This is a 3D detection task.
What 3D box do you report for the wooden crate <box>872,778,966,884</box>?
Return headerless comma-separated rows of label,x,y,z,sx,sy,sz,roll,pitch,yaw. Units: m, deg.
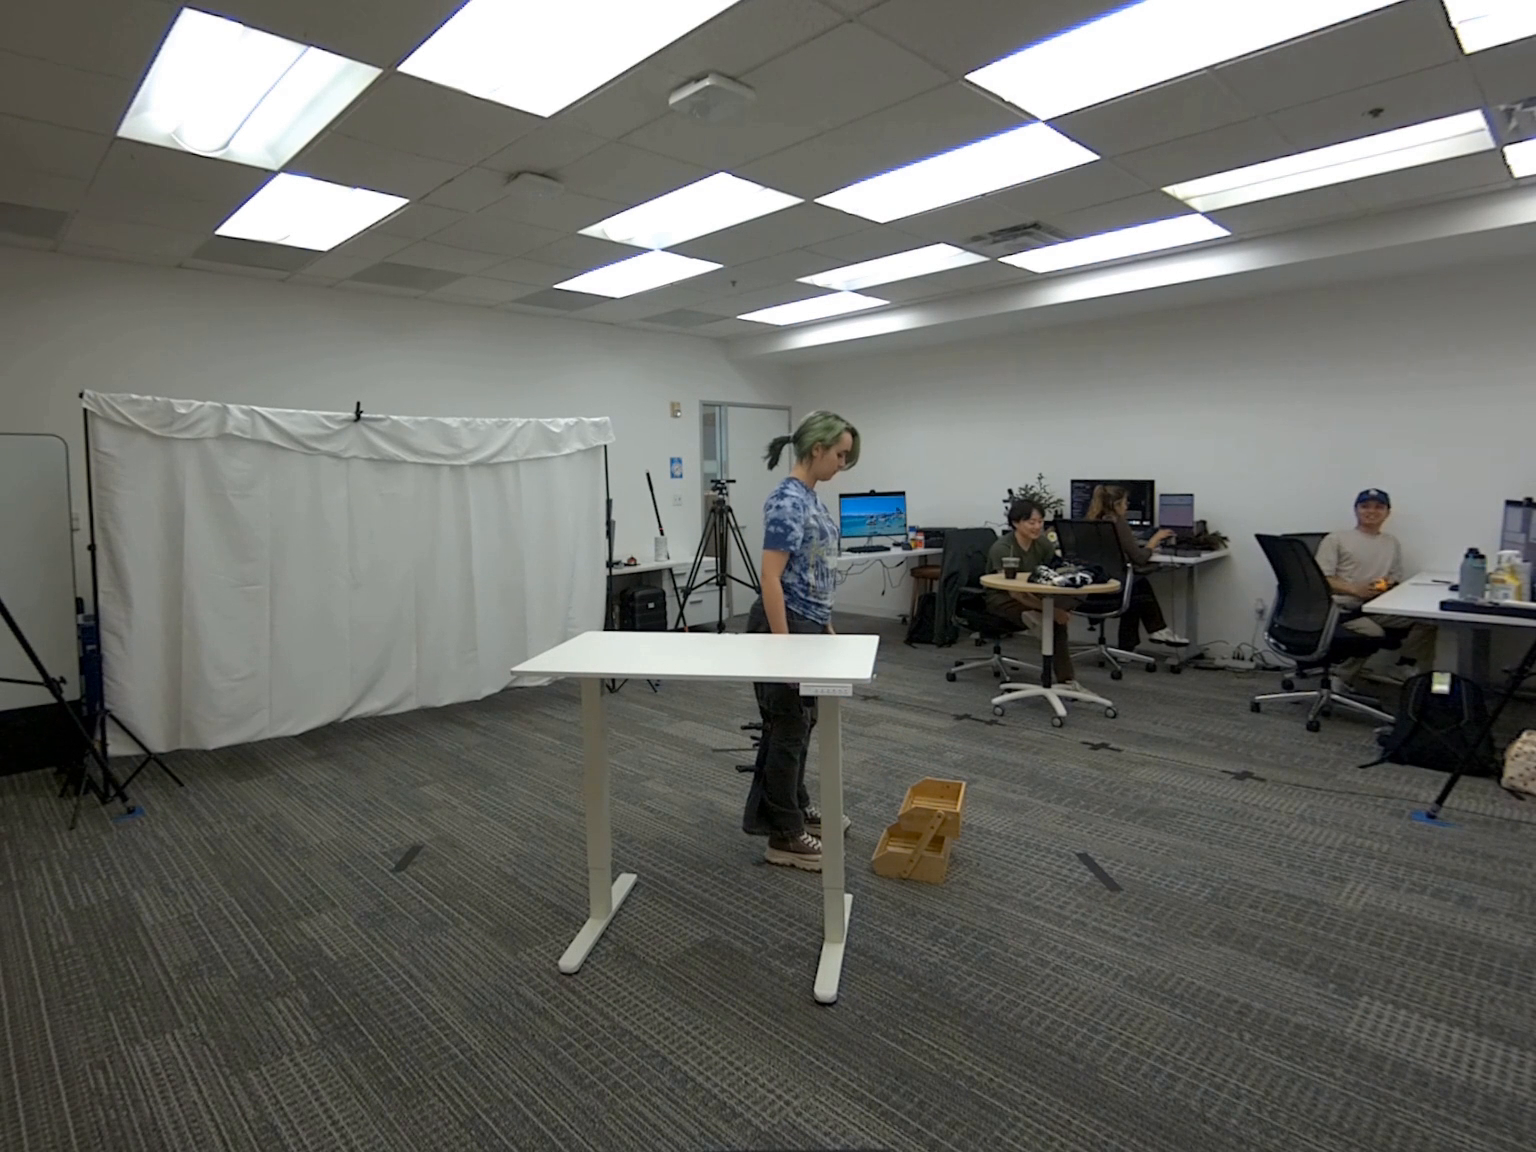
wooden crate,0.548,0.905,3.090,0.308,0.272,0.319,1,5,19
